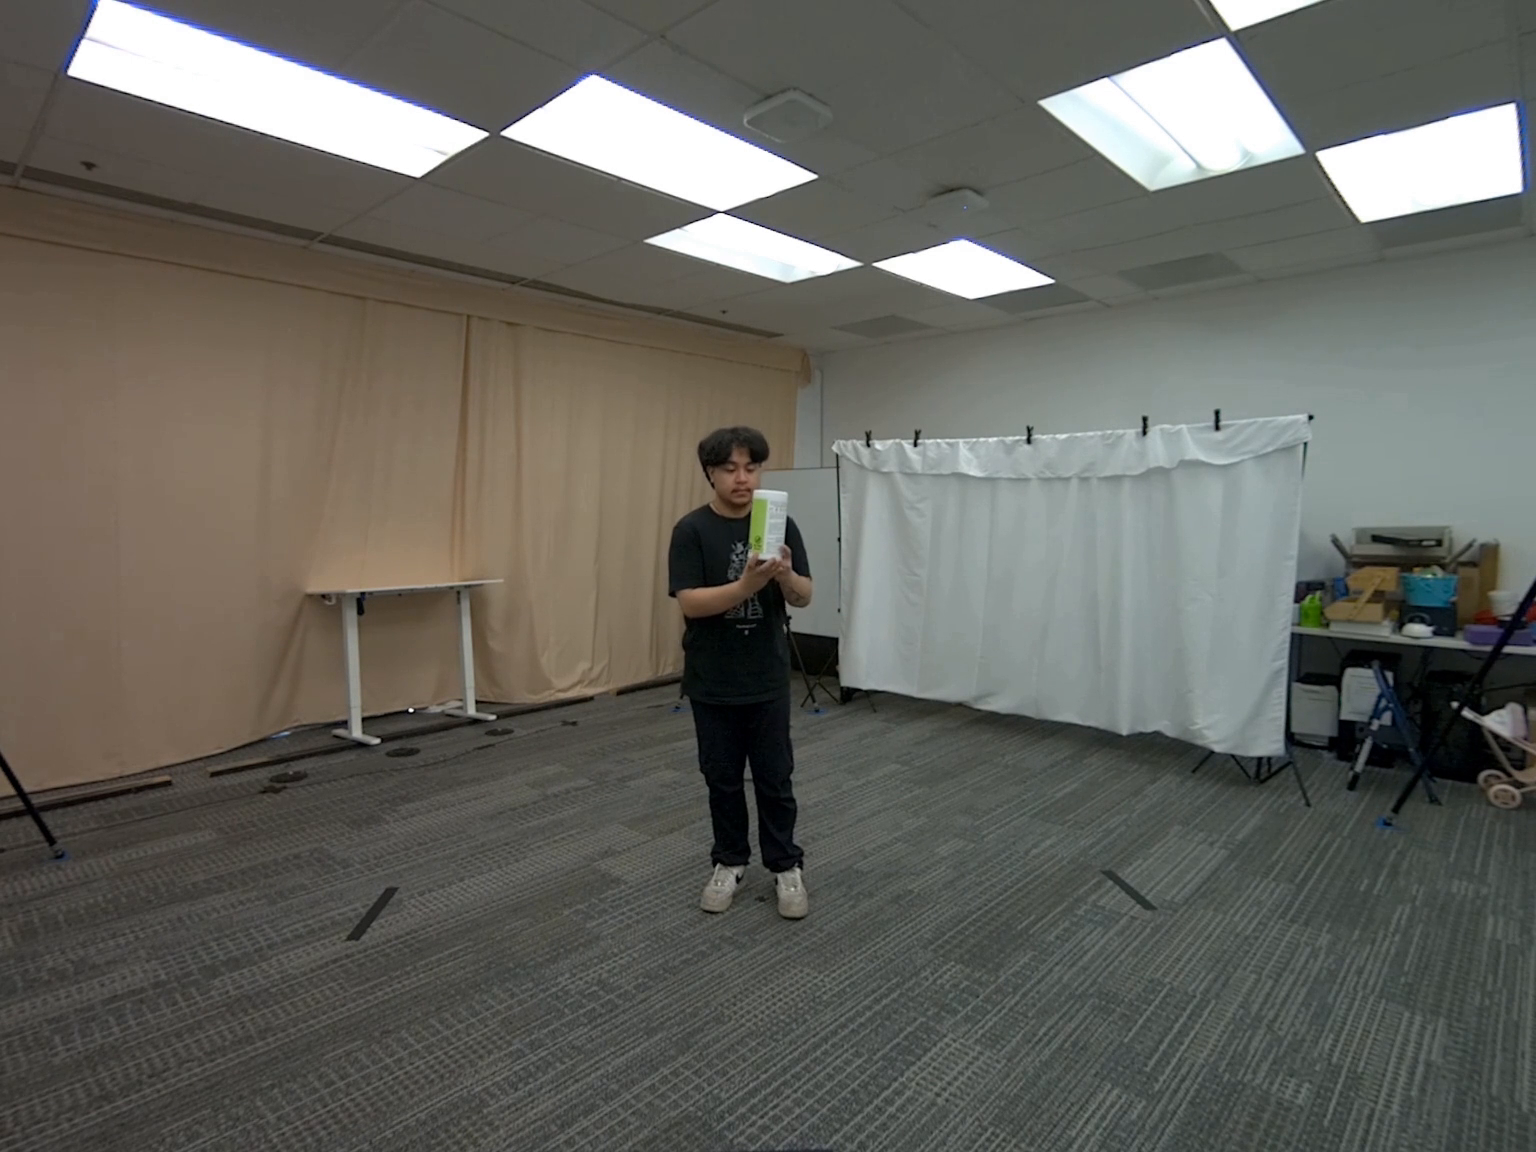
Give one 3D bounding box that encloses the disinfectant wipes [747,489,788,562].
[{"bbox_3d":[0.000,-0.156,2.626,0.117,0.217,0.118,4,3,-2],"label":"disinfectant wipes"}]
